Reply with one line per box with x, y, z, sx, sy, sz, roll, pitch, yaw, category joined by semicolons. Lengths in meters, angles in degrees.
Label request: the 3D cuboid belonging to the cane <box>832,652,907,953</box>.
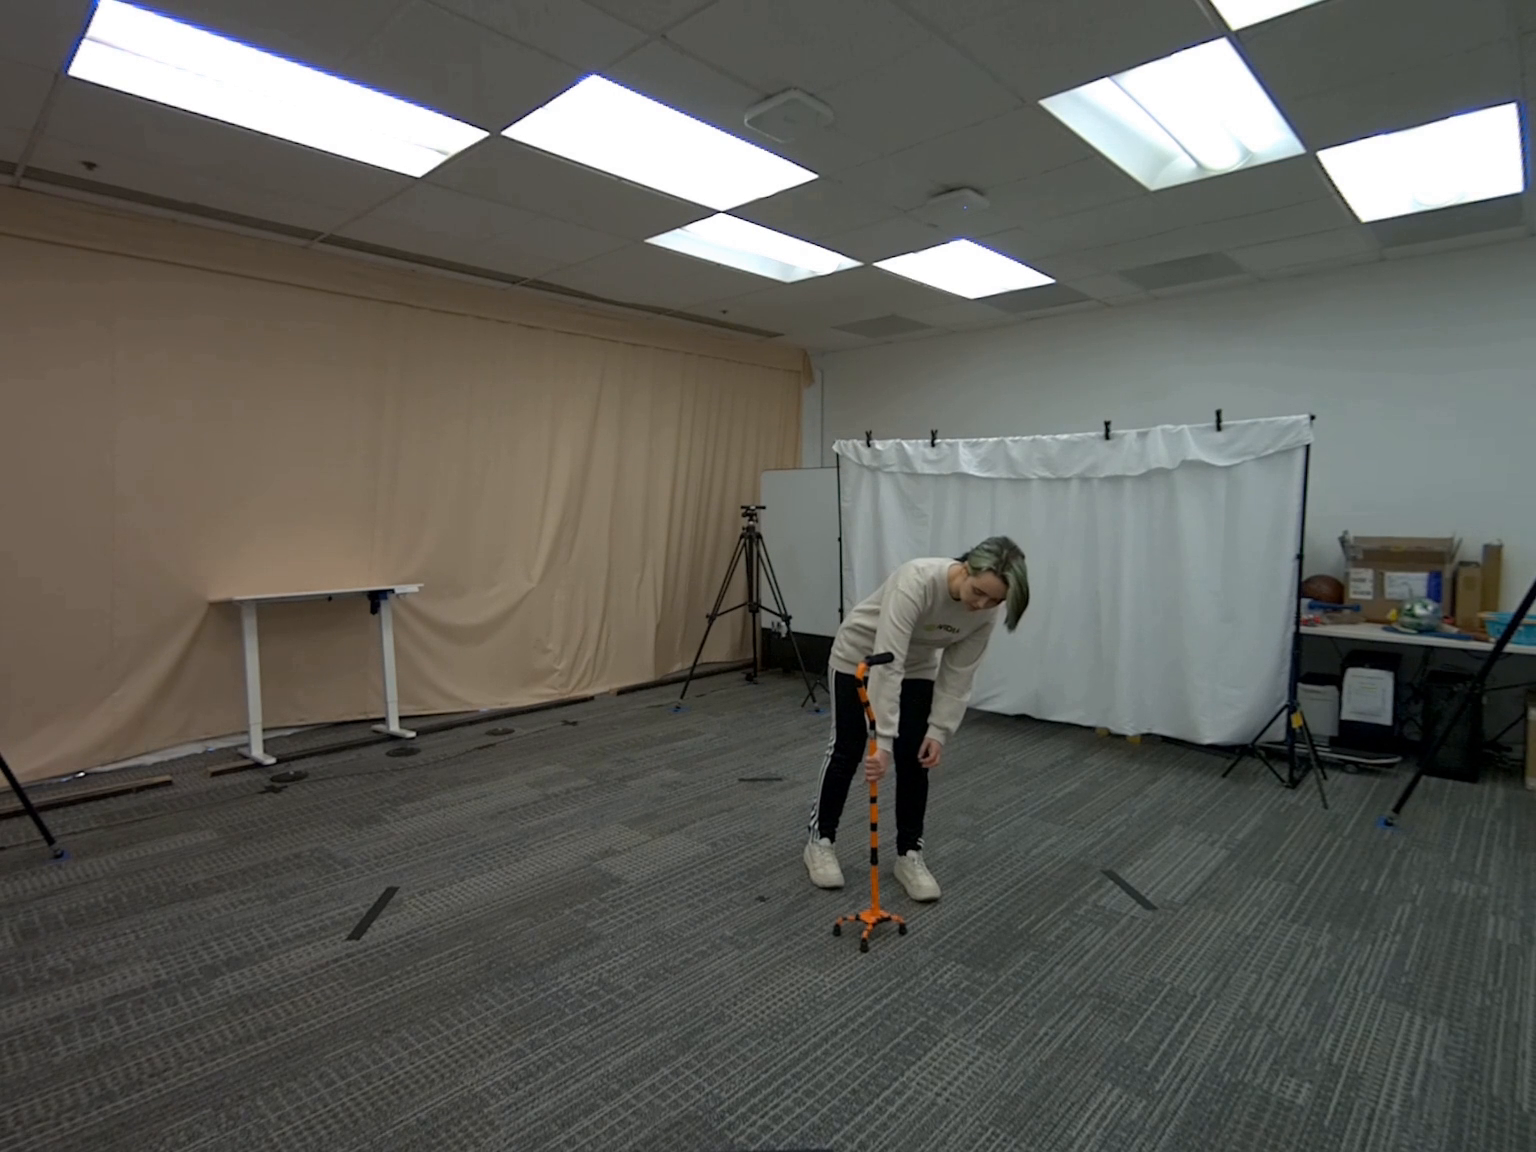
0.324;0.704;2.703;0.200;0.905;0.156;-5;5;-36;cane
